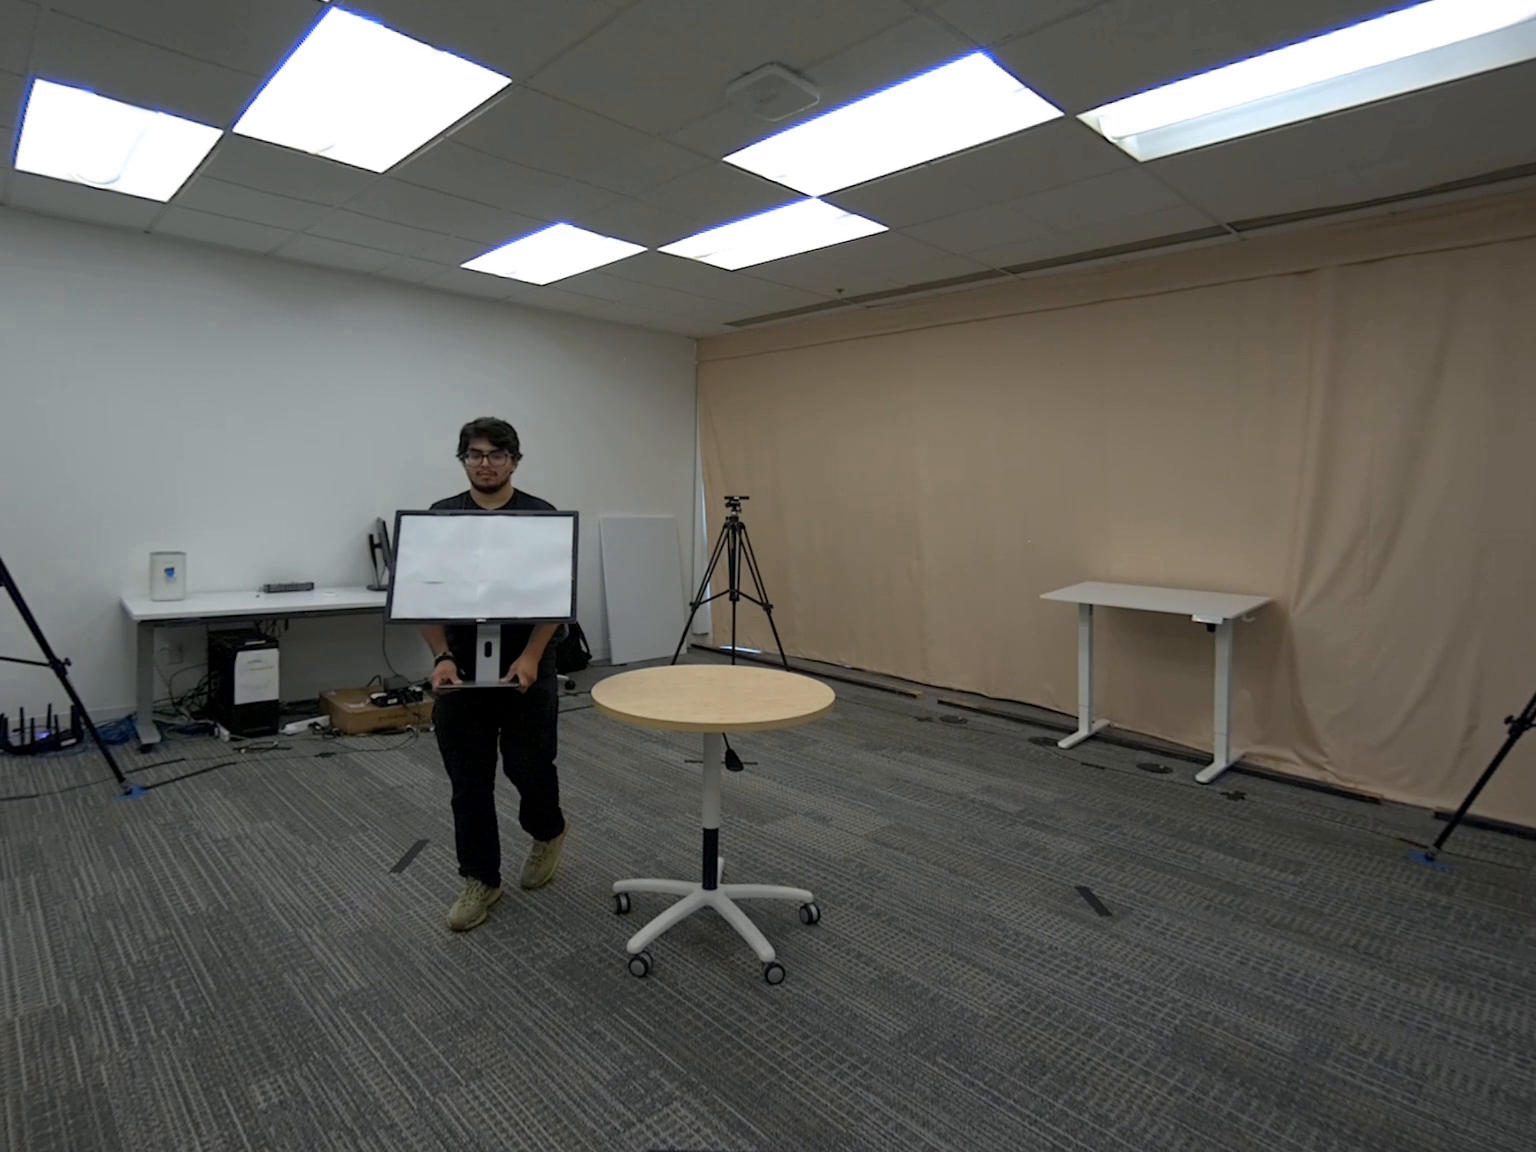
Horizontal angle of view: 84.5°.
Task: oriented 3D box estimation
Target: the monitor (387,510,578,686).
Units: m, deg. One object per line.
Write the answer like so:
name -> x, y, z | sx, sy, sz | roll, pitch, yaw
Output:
monitor -> -0.876, 0.073, 2.629 | 0.562, 0.560, 0.209 | -1, -13, -8
